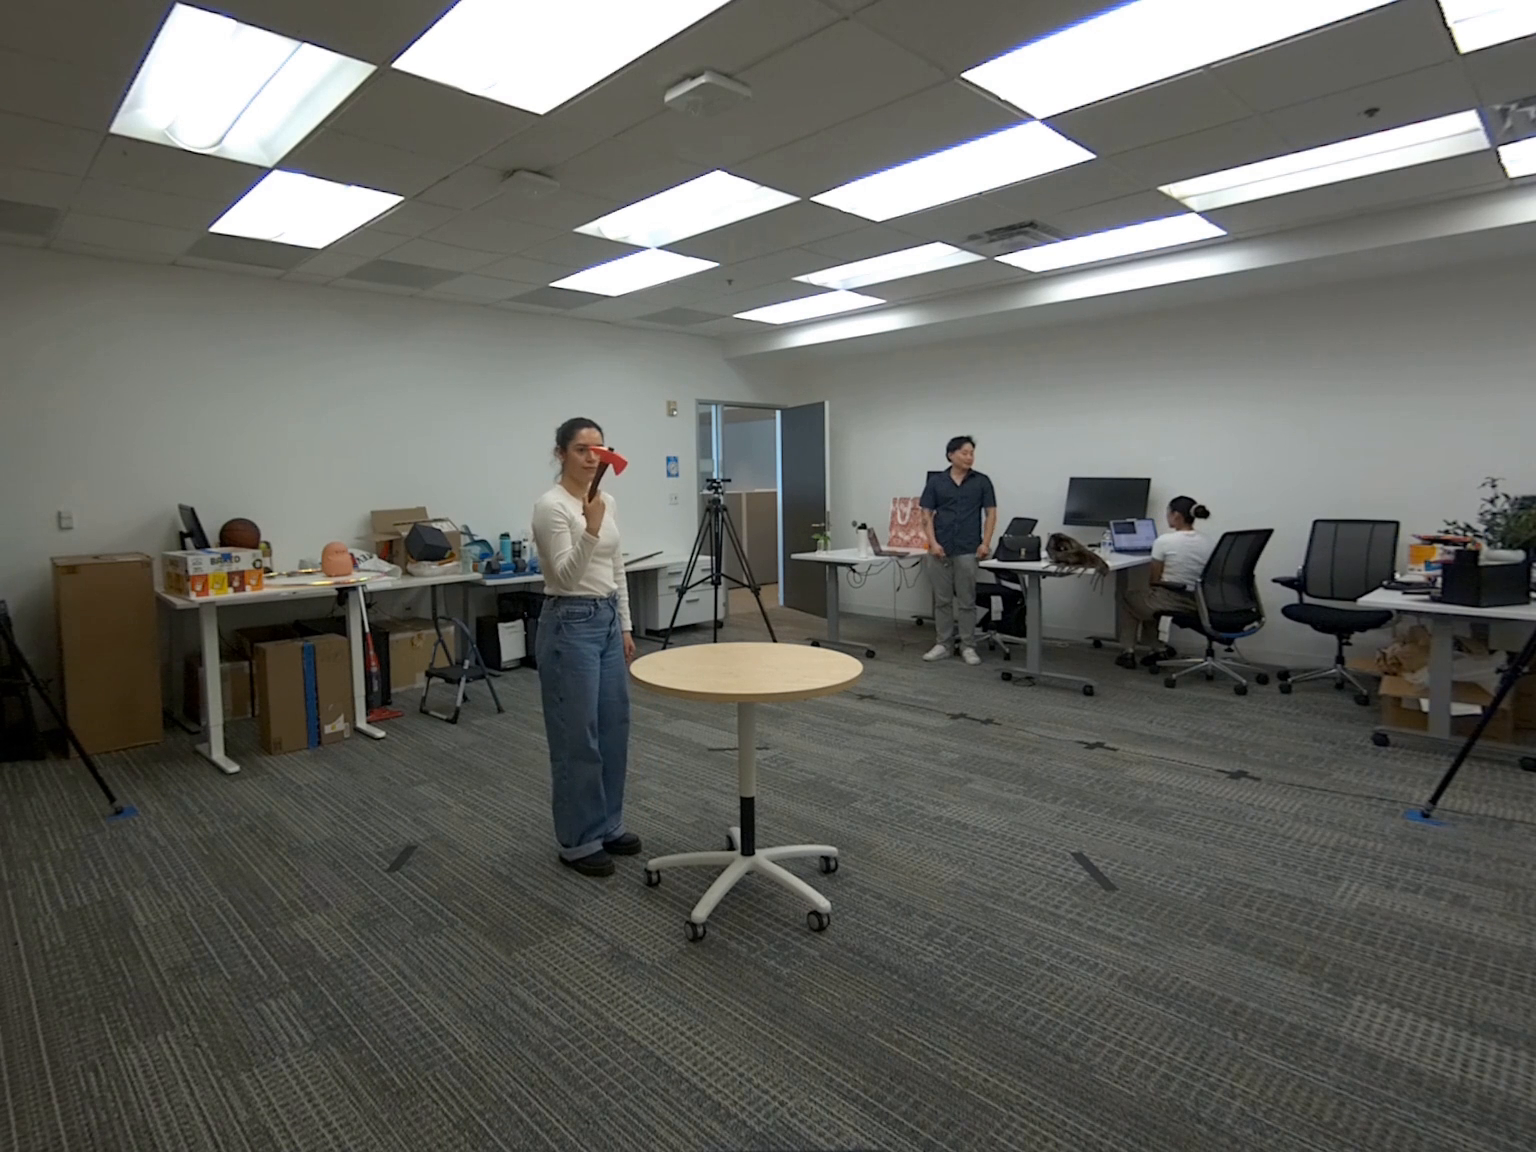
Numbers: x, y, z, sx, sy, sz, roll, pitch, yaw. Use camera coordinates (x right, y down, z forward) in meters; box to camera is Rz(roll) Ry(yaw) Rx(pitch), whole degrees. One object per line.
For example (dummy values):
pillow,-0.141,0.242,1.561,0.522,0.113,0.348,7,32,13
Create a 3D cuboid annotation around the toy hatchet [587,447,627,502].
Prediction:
toy hatchet,-0.539,-0.299,2.833,0.130,0.266,0.030,4,19,-9
